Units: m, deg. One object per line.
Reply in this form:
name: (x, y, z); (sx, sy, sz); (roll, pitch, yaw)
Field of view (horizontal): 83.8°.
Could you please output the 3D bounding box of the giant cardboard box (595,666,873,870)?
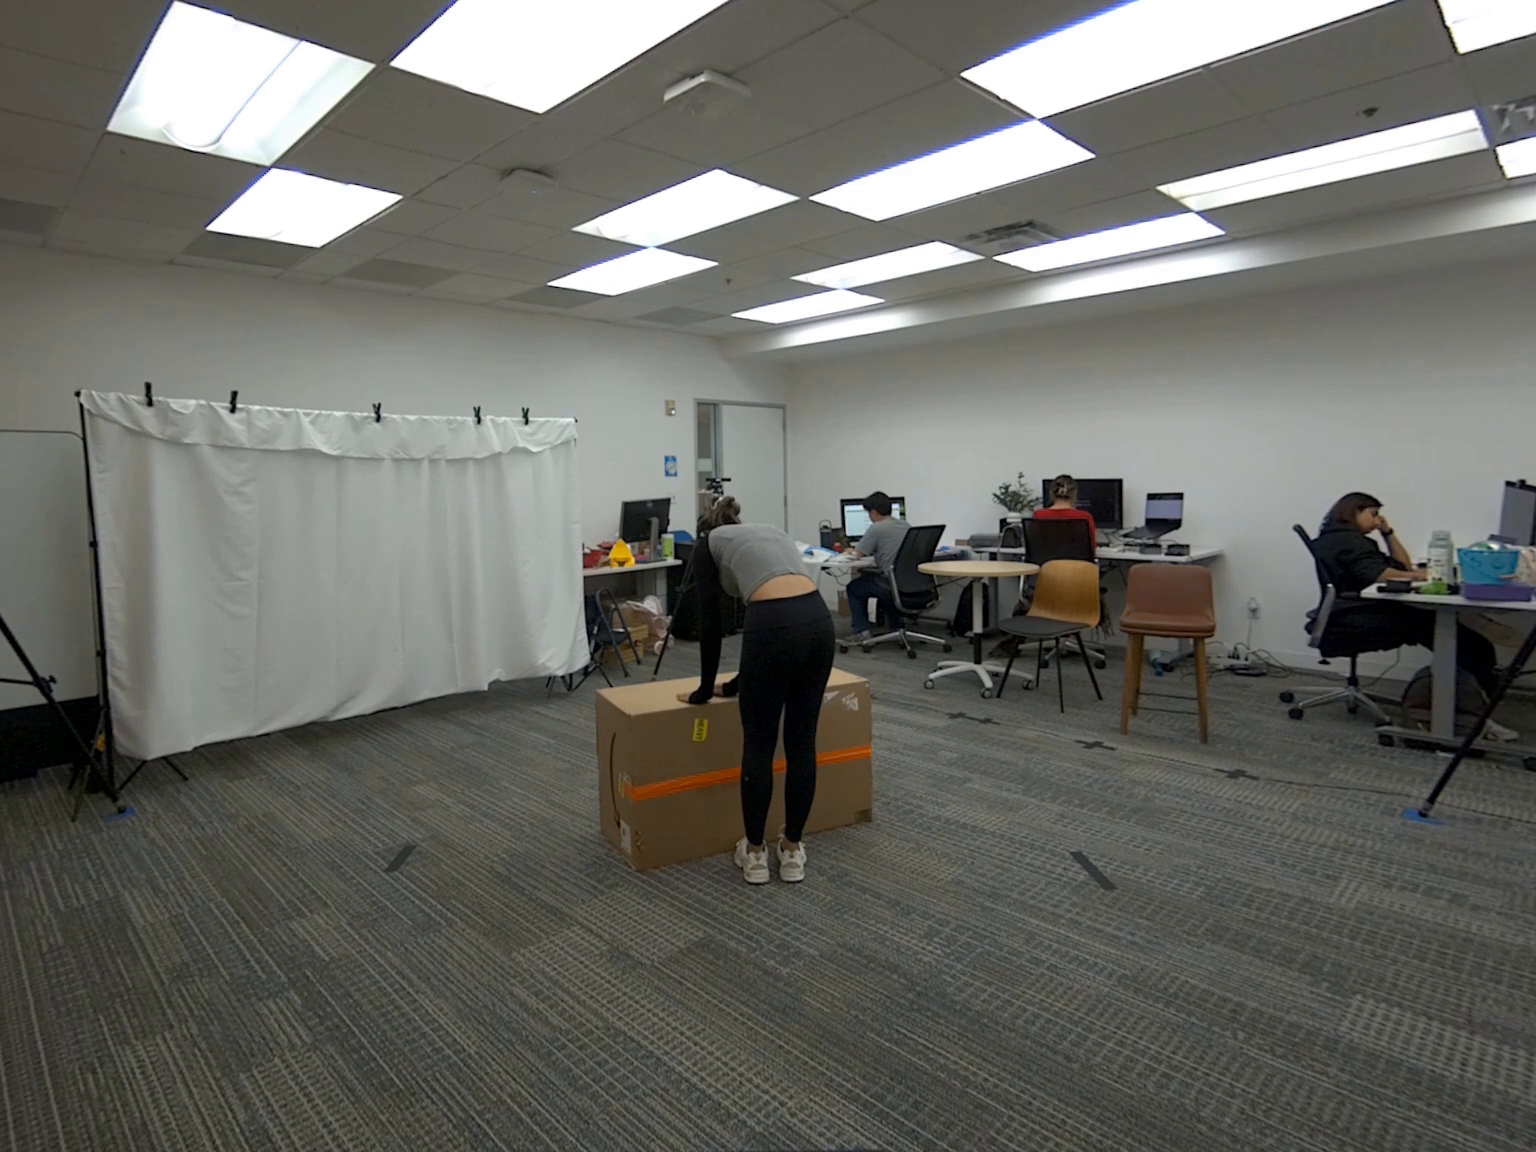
giant cardboard box: (-0.131, 0.719, 3.427); (1.005, 0.575, 0.437); (-4, 5, -25)
